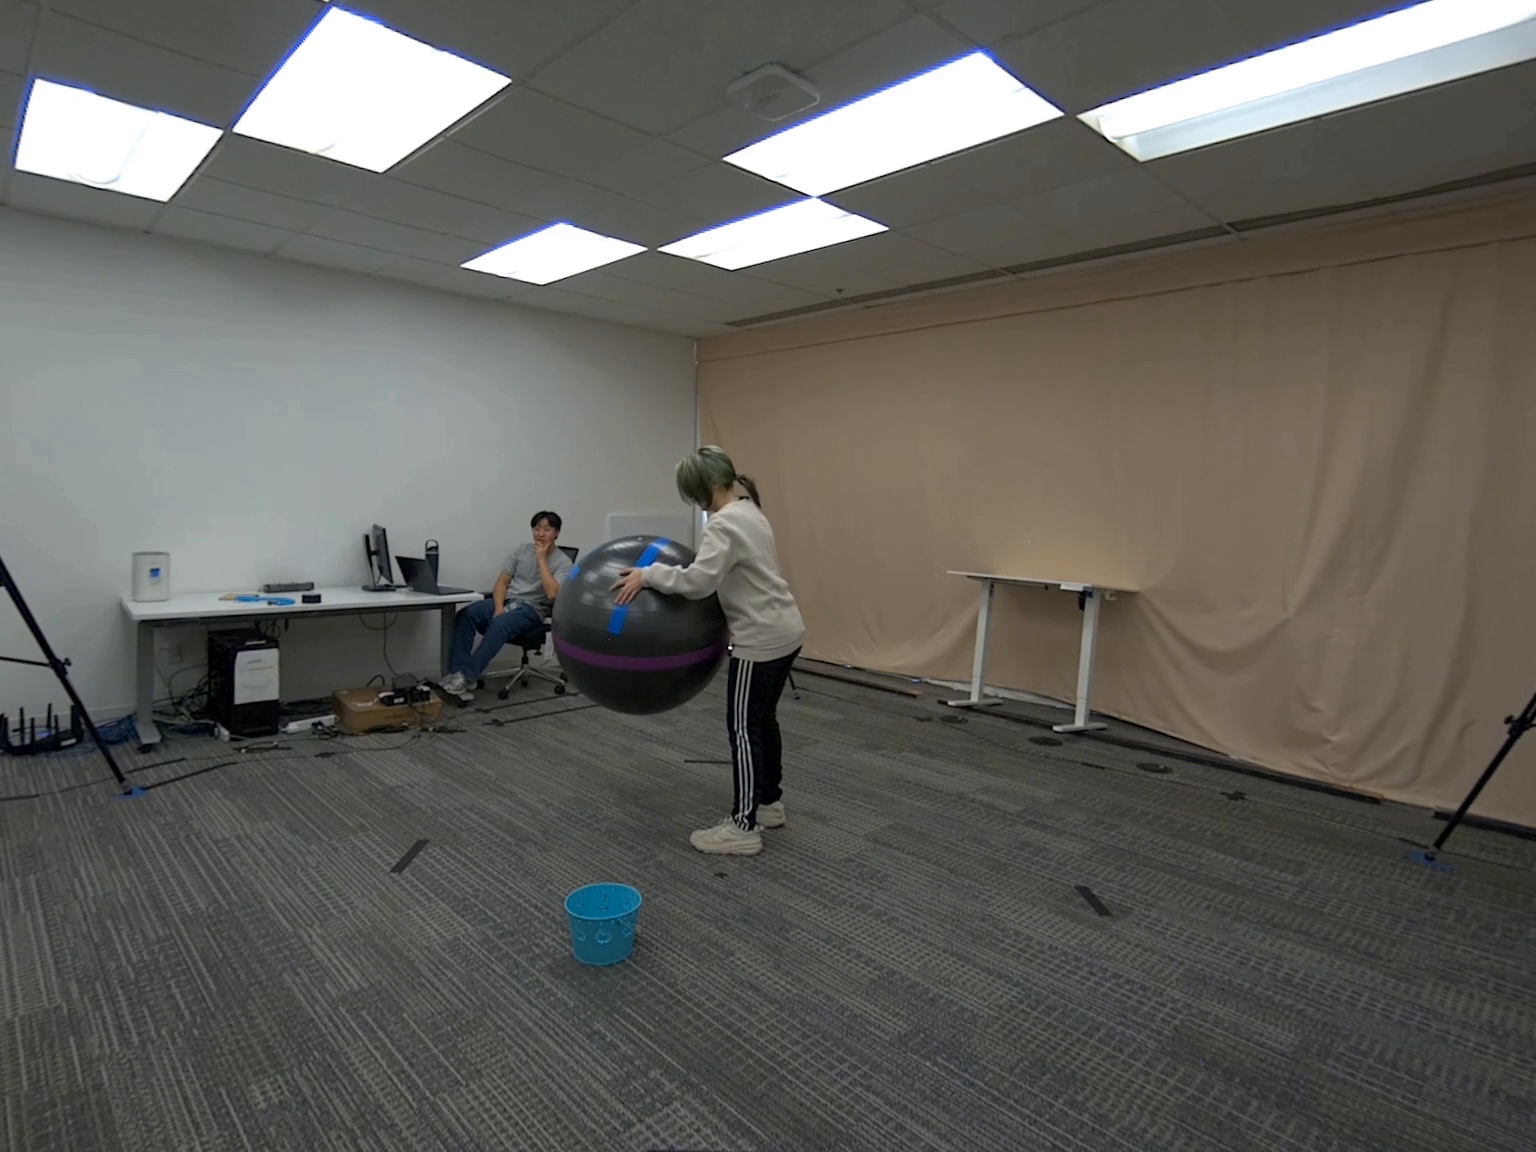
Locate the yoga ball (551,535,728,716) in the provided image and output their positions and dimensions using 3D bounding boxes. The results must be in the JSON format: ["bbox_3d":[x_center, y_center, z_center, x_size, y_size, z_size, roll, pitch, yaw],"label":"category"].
[{"bbox_3d":[-0.545,0.208,3.585,0.757,0.756,0.761,1,4,-1],"label":"yoga ball"}]
